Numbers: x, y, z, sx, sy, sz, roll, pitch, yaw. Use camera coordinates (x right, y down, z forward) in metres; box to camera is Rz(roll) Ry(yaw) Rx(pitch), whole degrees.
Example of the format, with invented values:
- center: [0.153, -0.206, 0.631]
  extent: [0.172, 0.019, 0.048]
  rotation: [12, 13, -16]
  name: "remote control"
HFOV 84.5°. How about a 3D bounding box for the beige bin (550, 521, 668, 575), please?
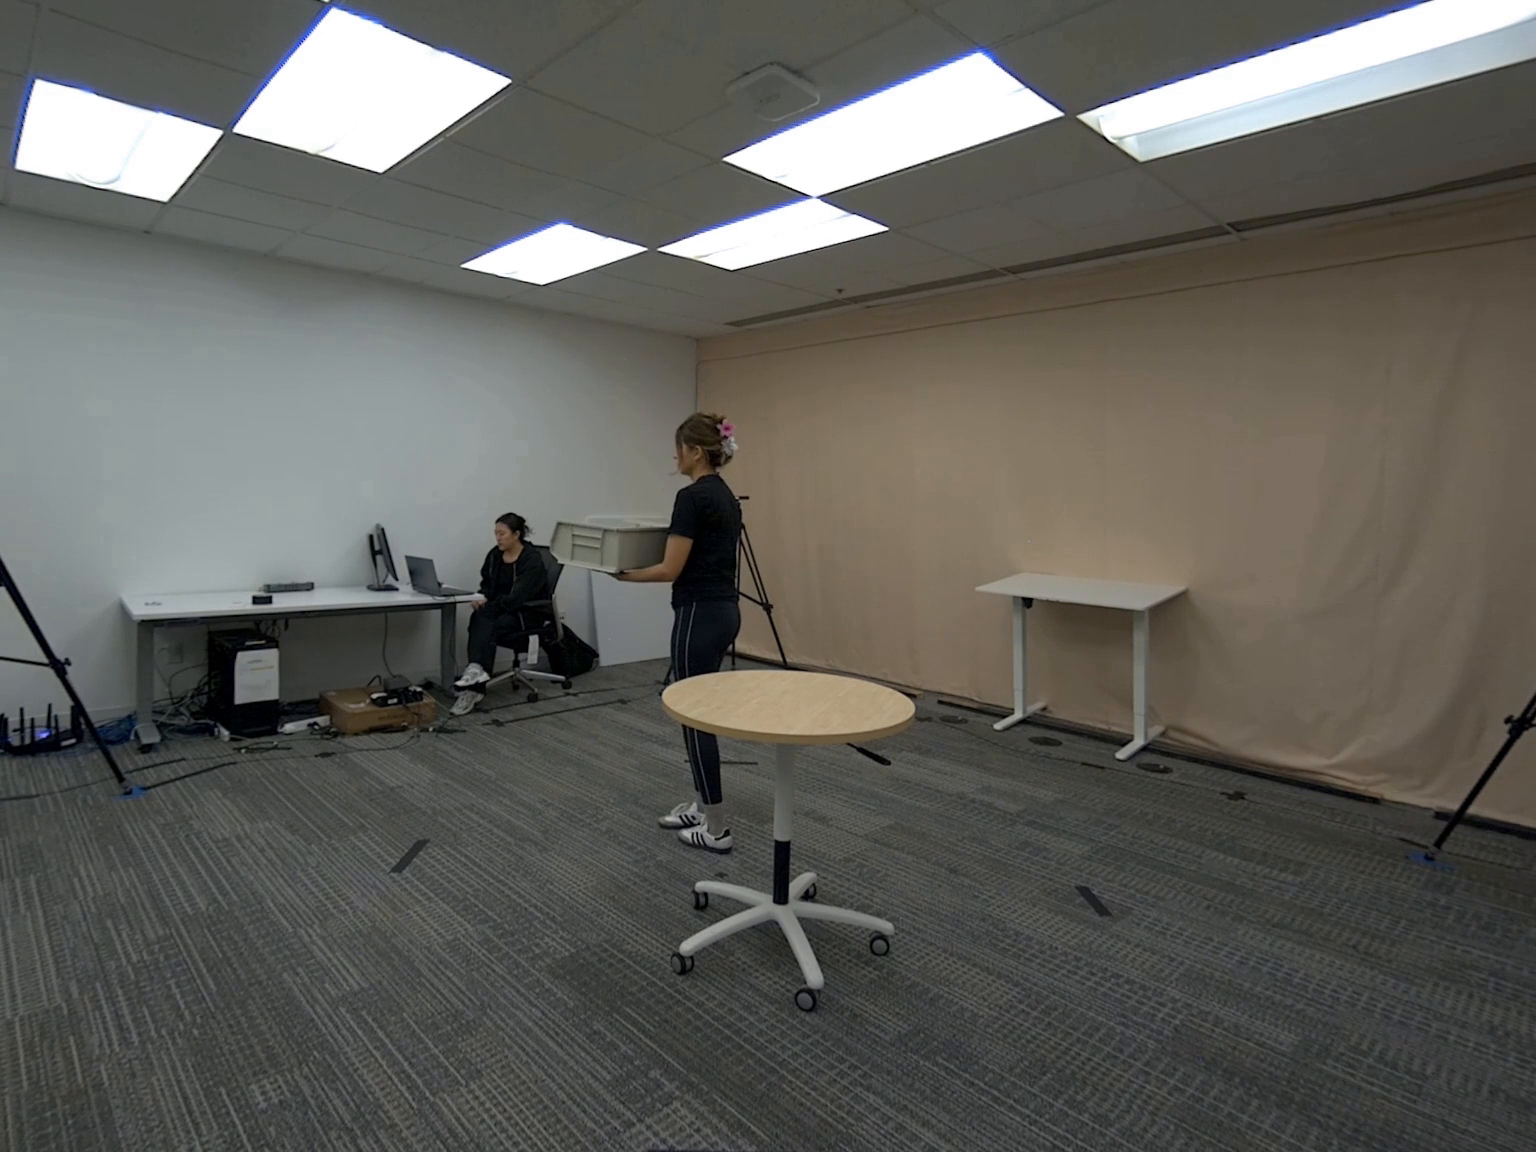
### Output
- center: [-0.629, -0.132, 3.522]
  extent: [0.387, 0.188, 0.413]
  rotation: [10, 8, 35]
  name: "beige bin"
